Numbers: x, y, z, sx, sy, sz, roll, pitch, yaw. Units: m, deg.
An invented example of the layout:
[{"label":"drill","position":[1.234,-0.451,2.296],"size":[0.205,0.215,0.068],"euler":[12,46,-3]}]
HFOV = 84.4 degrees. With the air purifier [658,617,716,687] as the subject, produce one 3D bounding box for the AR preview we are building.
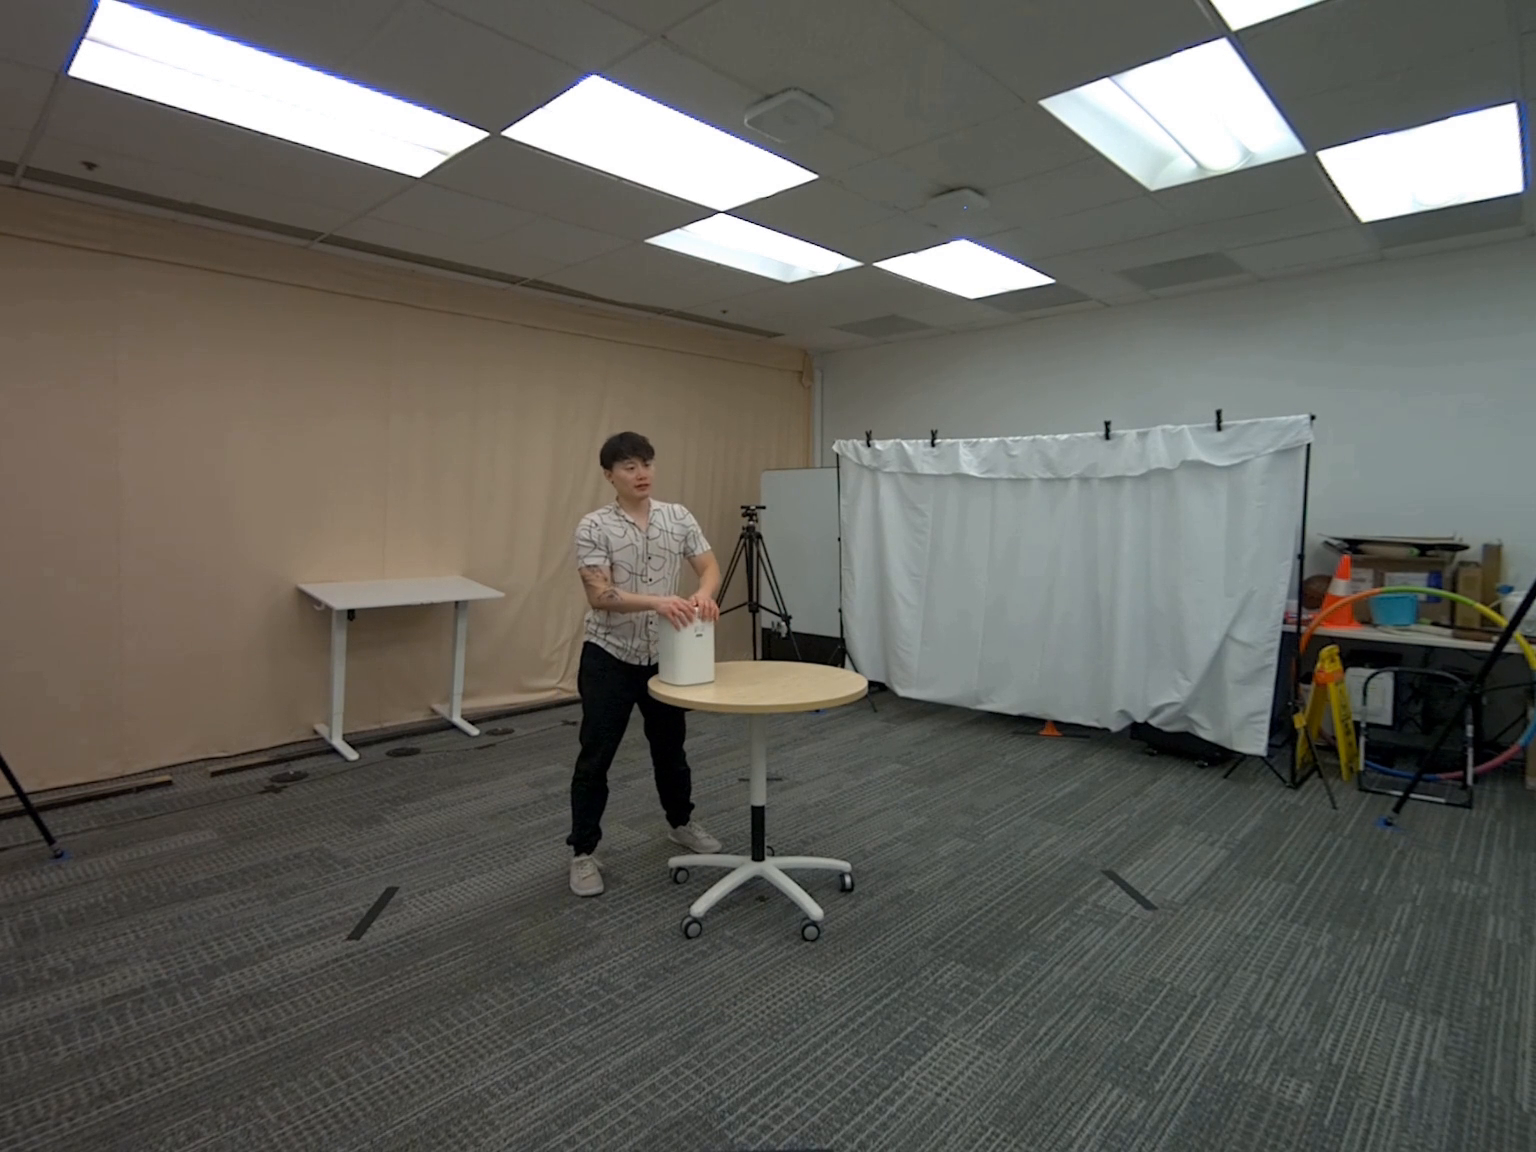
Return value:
[{"label":"air purifier","position":[-0.285,0.236,2.954],"size":[0.166,0.265,0.177],"euler":[-4,4,-34]}]
